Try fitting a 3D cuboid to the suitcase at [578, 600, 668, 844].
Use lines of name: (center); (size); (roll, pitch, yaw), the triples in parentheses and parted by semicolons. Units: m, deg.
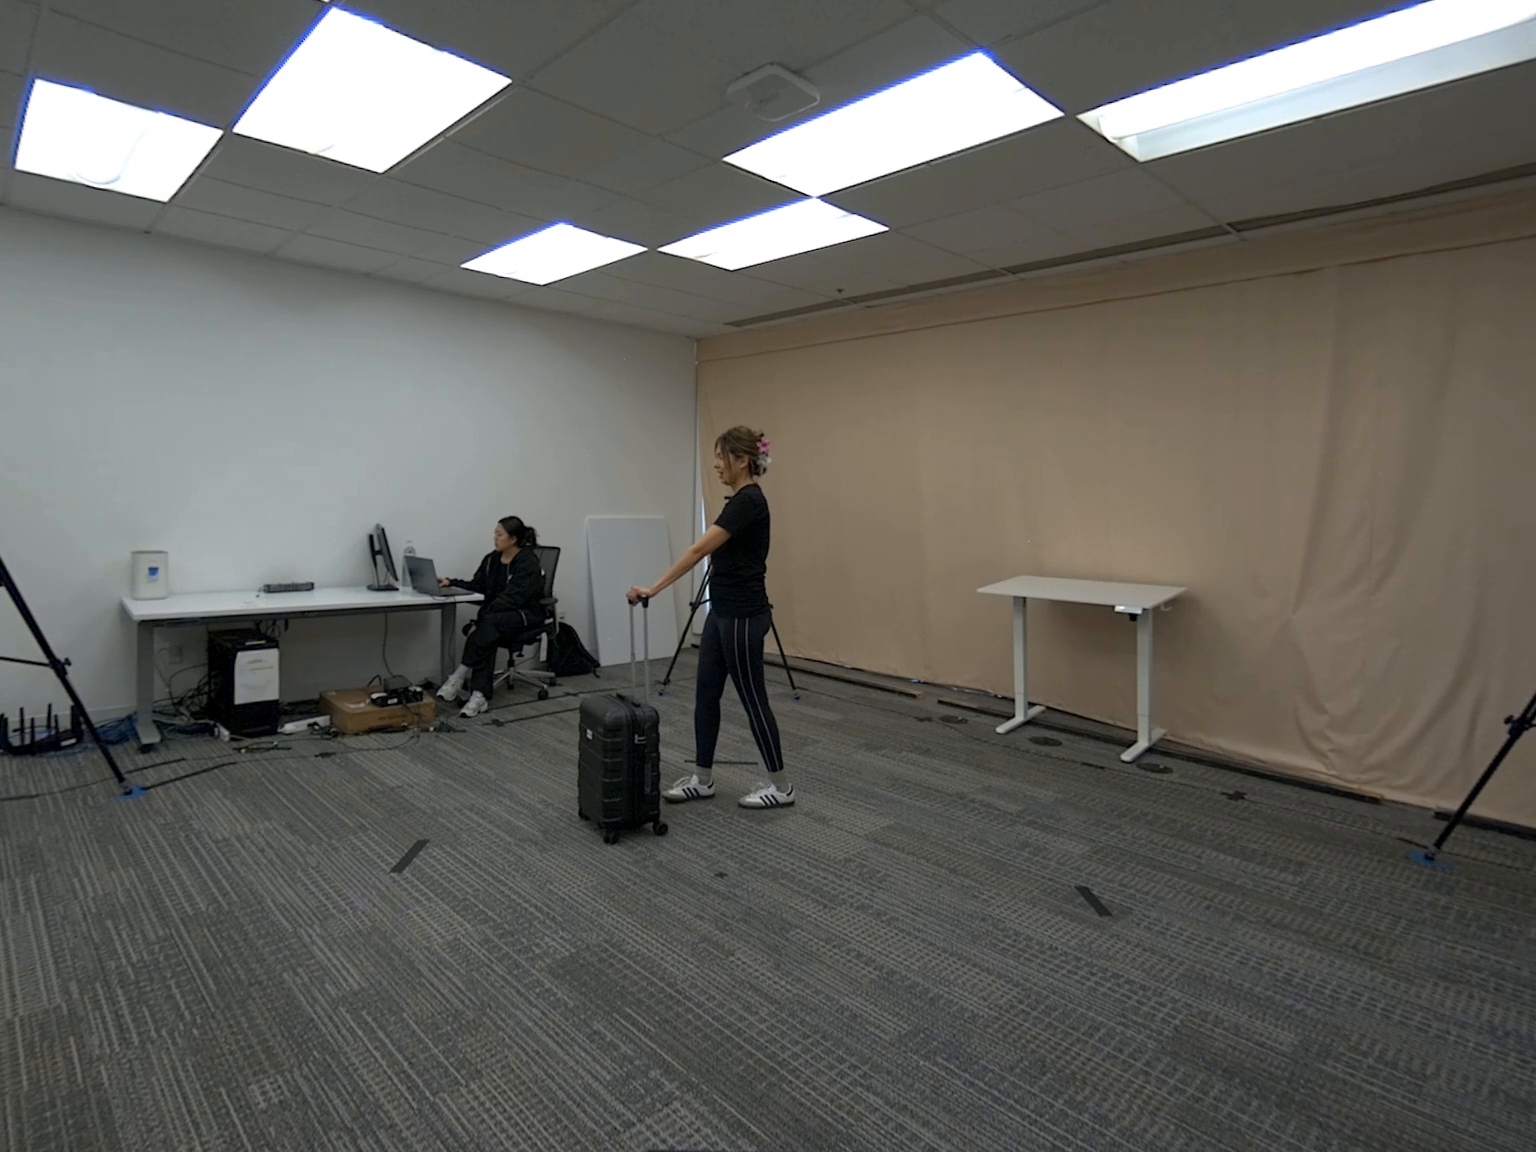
suitcase: (-0.634, 0.581, 3.494); (0.252, 0.975, 0.393); (-4, 5, -30)
